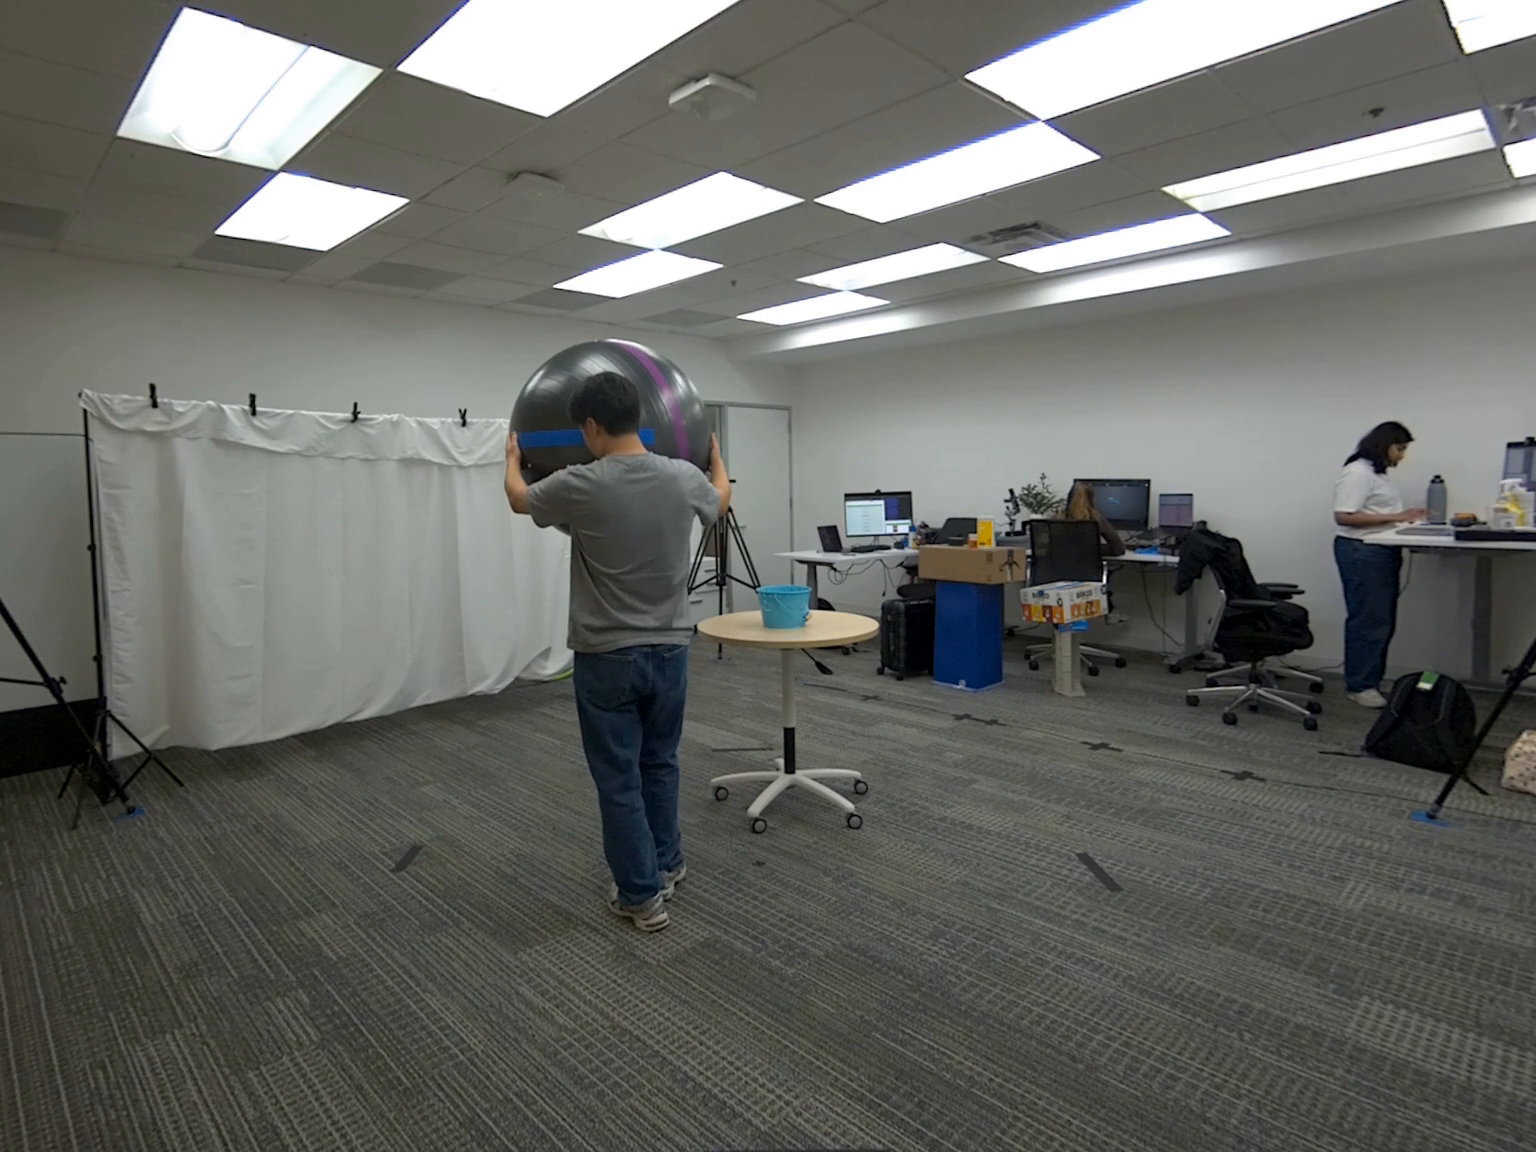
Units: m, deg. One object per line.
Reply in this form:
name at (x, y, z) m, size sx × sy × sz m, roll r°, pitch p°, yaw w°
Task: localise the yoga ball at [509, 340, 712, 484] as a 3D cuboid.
yoga ball at (-0.585, -0.495, 3.214) m, size 0.757 × 0.755 × 0.762 m, roll -1°, pitch 5°, yaw -2°
